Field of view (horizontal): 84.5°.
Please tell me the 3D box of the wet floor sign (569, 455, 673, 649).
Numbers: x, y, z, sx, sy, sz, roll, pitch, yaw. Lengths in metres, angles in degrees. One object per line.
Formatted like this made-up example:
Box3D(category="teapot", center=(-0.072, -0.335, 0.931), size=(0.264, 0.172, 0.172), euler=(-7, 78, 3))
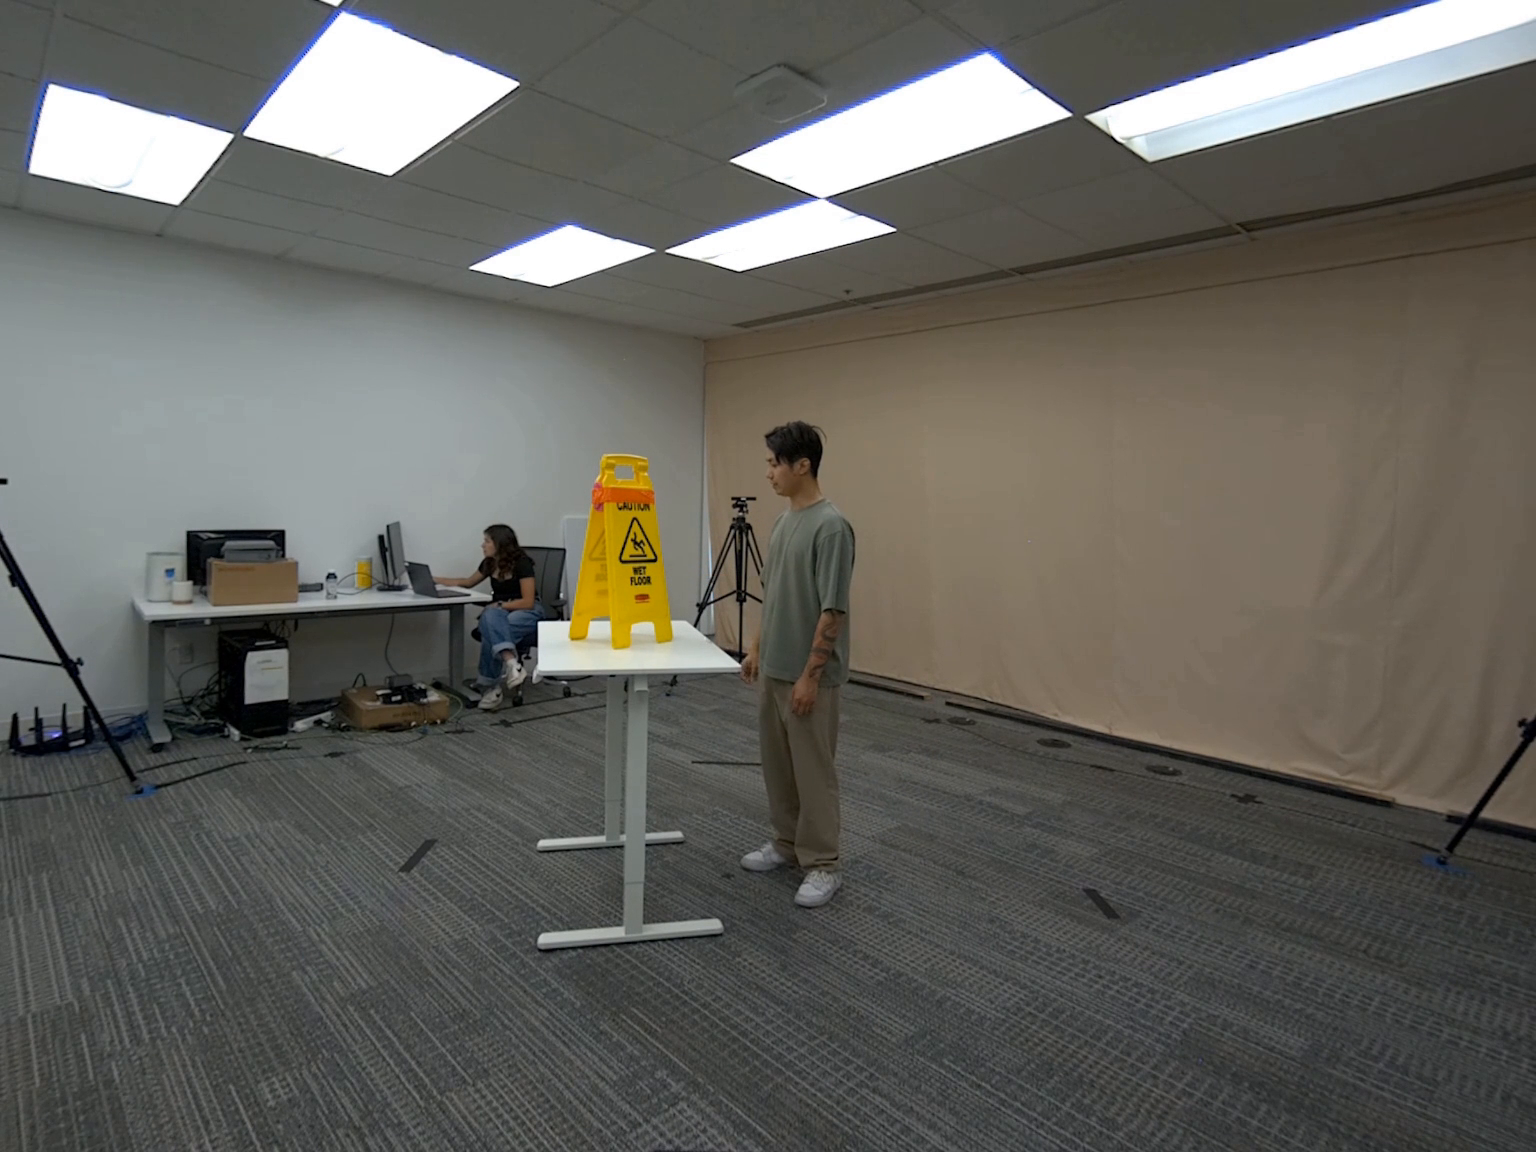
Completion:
Box3D(category="wet floor sign", center=(-0.515, -0.095, 2.951), size=(0.297, 0.645, 0.276), euler=(3, 2, 40))
